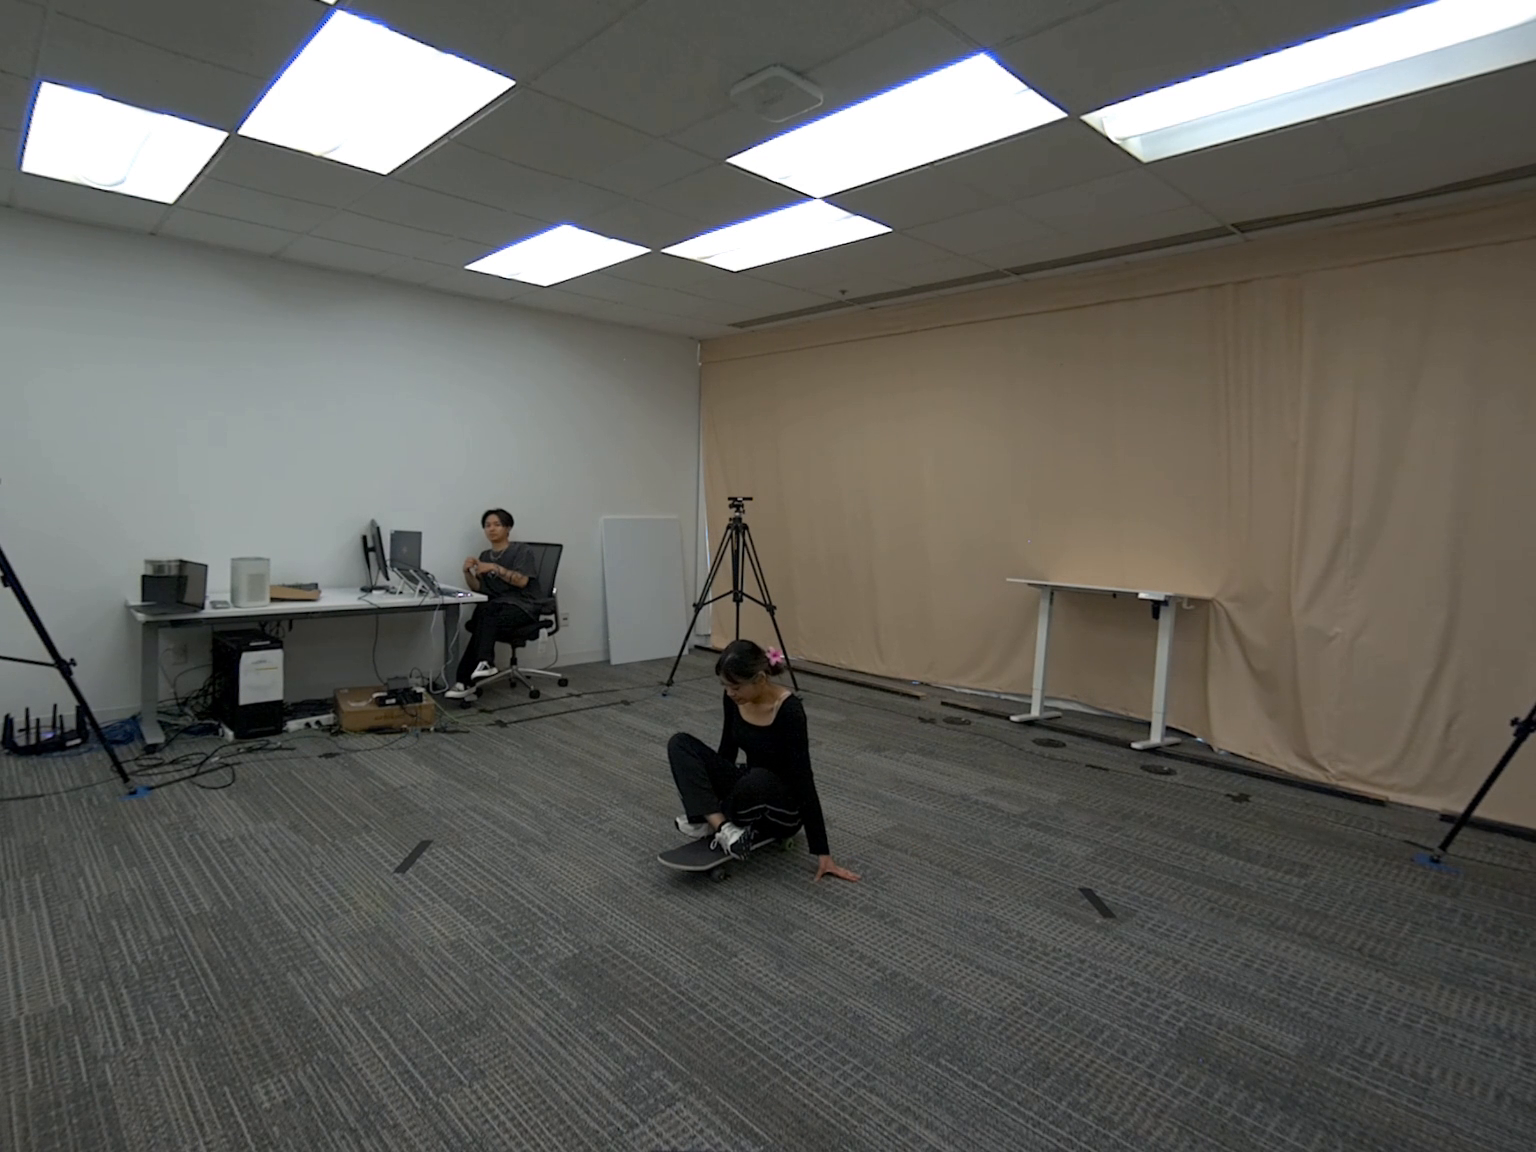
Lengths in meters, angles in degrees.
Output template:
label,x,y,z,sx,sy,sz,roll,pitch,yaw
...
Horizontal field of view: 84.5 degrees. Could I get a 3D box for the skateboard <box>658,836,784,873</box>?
label,x,y,z,sx,sy,sz,roll,pitch,yaw
skateboard,-0.118,1.040,3.247,0.198,0.110,0.767,4,4,40
